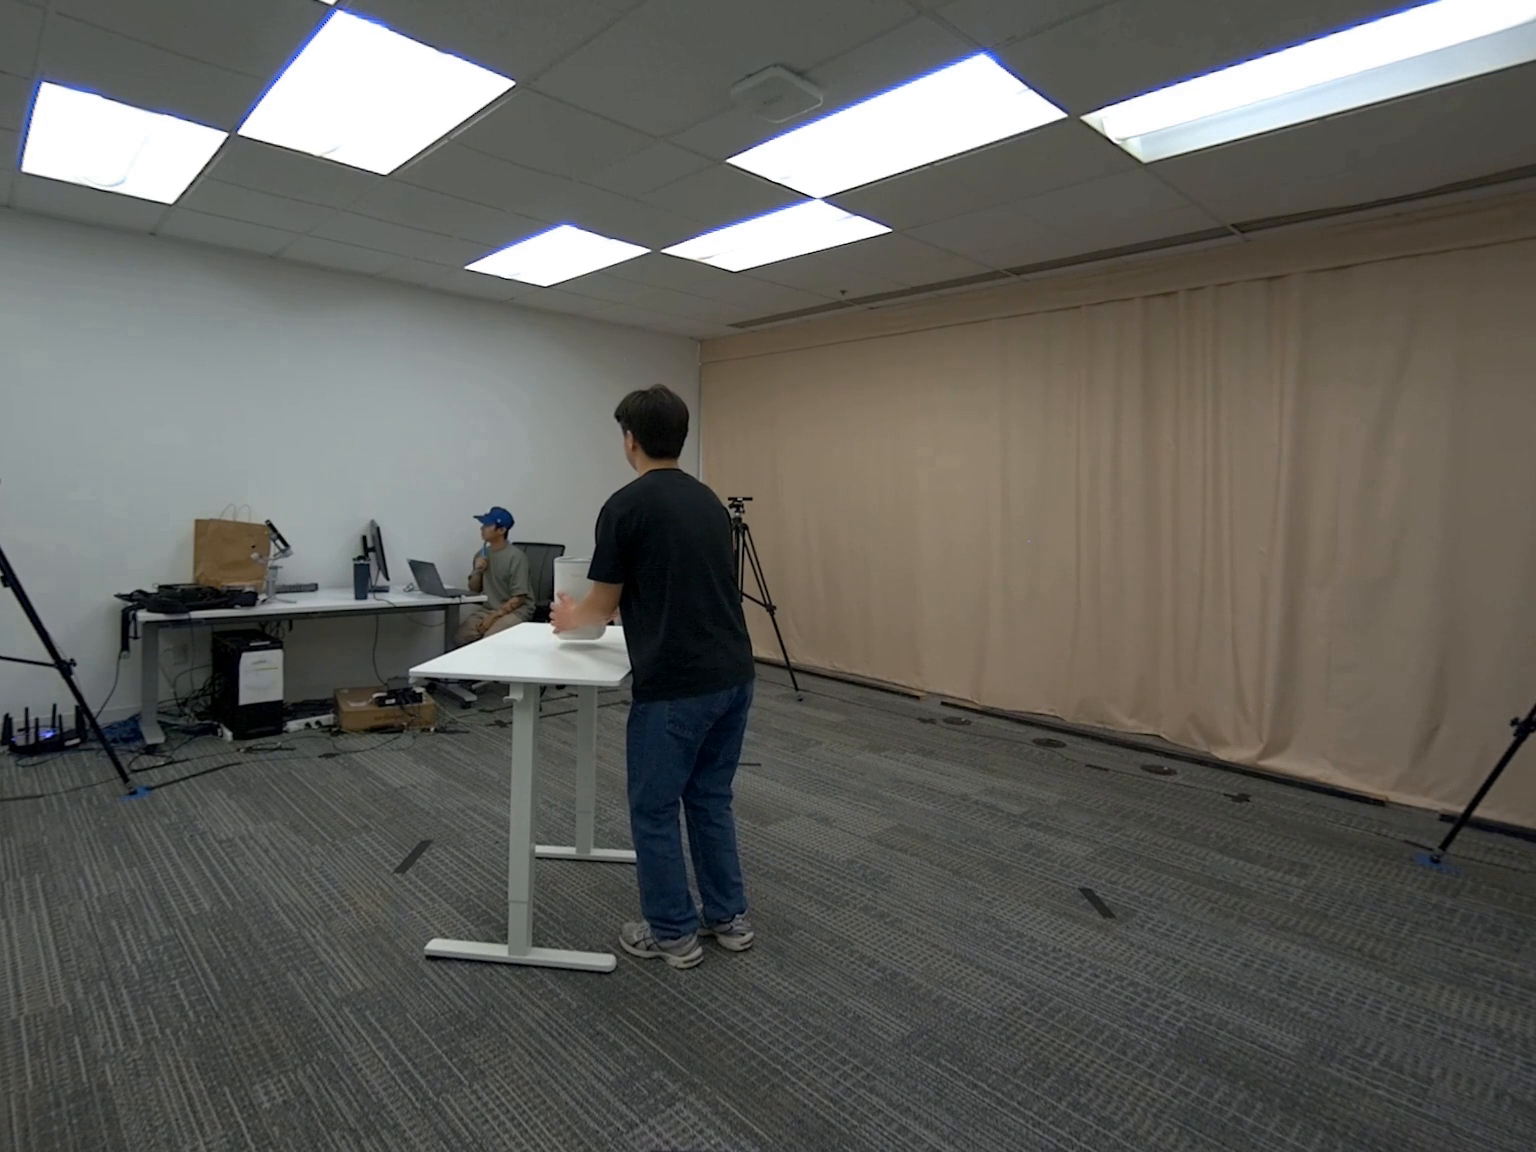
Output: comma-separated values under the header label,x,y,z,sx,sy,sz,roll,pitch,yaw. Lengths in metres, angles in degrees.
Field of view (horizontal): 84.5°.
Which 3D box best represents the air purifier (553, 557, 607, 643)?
label,x,y,z,sx,sy,sz,roll,pitch,yaw
air purifier,-0.637,0.074,2.833,0.170,0.264,0.173,4,5,-4
